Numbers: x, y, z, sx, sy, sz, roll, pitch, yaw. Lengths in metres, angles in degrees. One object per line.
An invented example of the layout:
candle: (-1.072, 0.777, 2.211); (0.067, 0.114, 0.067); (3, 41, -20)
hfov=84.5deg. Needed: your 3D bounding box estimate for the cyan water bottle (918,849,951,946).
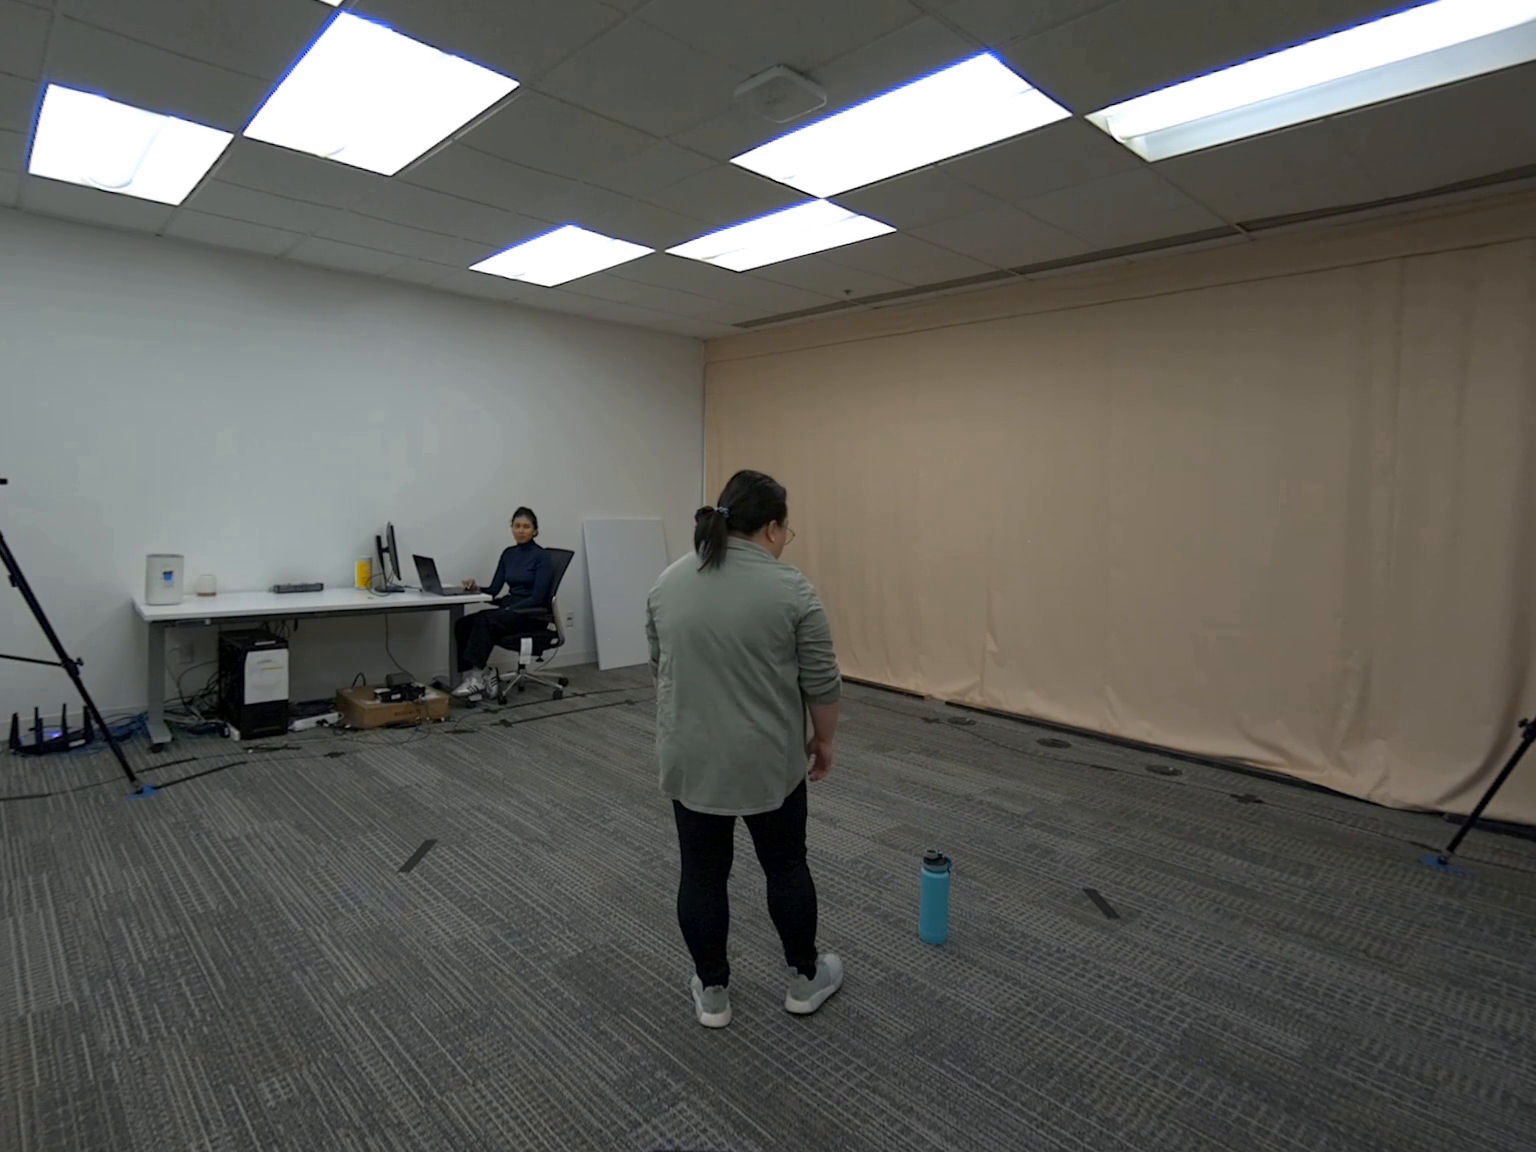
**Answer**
cyan water bottle: (0.531, 1.023, 2.690); (0.092, 0.282, 0.093); (3, 4, -2)
